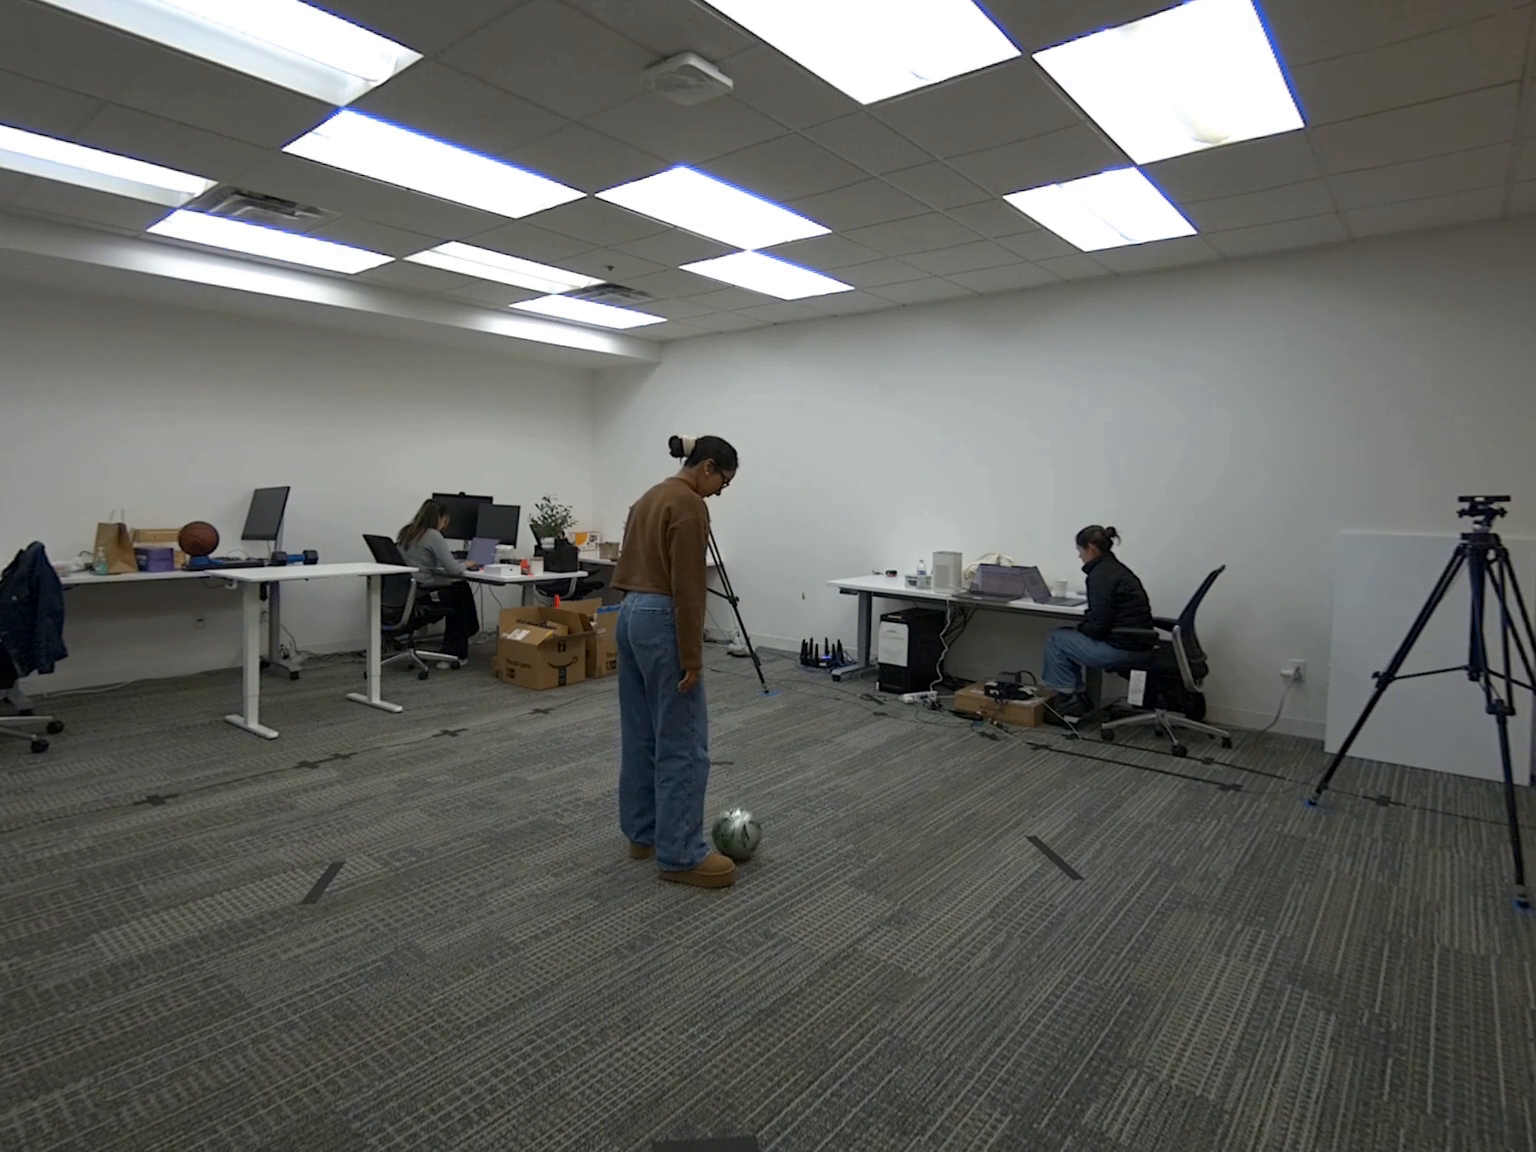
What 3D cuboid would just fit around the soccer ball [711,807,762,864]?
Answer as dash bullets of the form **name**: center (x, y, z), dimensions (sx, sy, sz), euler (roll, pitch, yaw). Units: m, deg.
- **soccer ball**: center (-0.124, 0.967, 3.198), dimensions (0.187, 0.187, 0.188), euler (1, 4, -2)
